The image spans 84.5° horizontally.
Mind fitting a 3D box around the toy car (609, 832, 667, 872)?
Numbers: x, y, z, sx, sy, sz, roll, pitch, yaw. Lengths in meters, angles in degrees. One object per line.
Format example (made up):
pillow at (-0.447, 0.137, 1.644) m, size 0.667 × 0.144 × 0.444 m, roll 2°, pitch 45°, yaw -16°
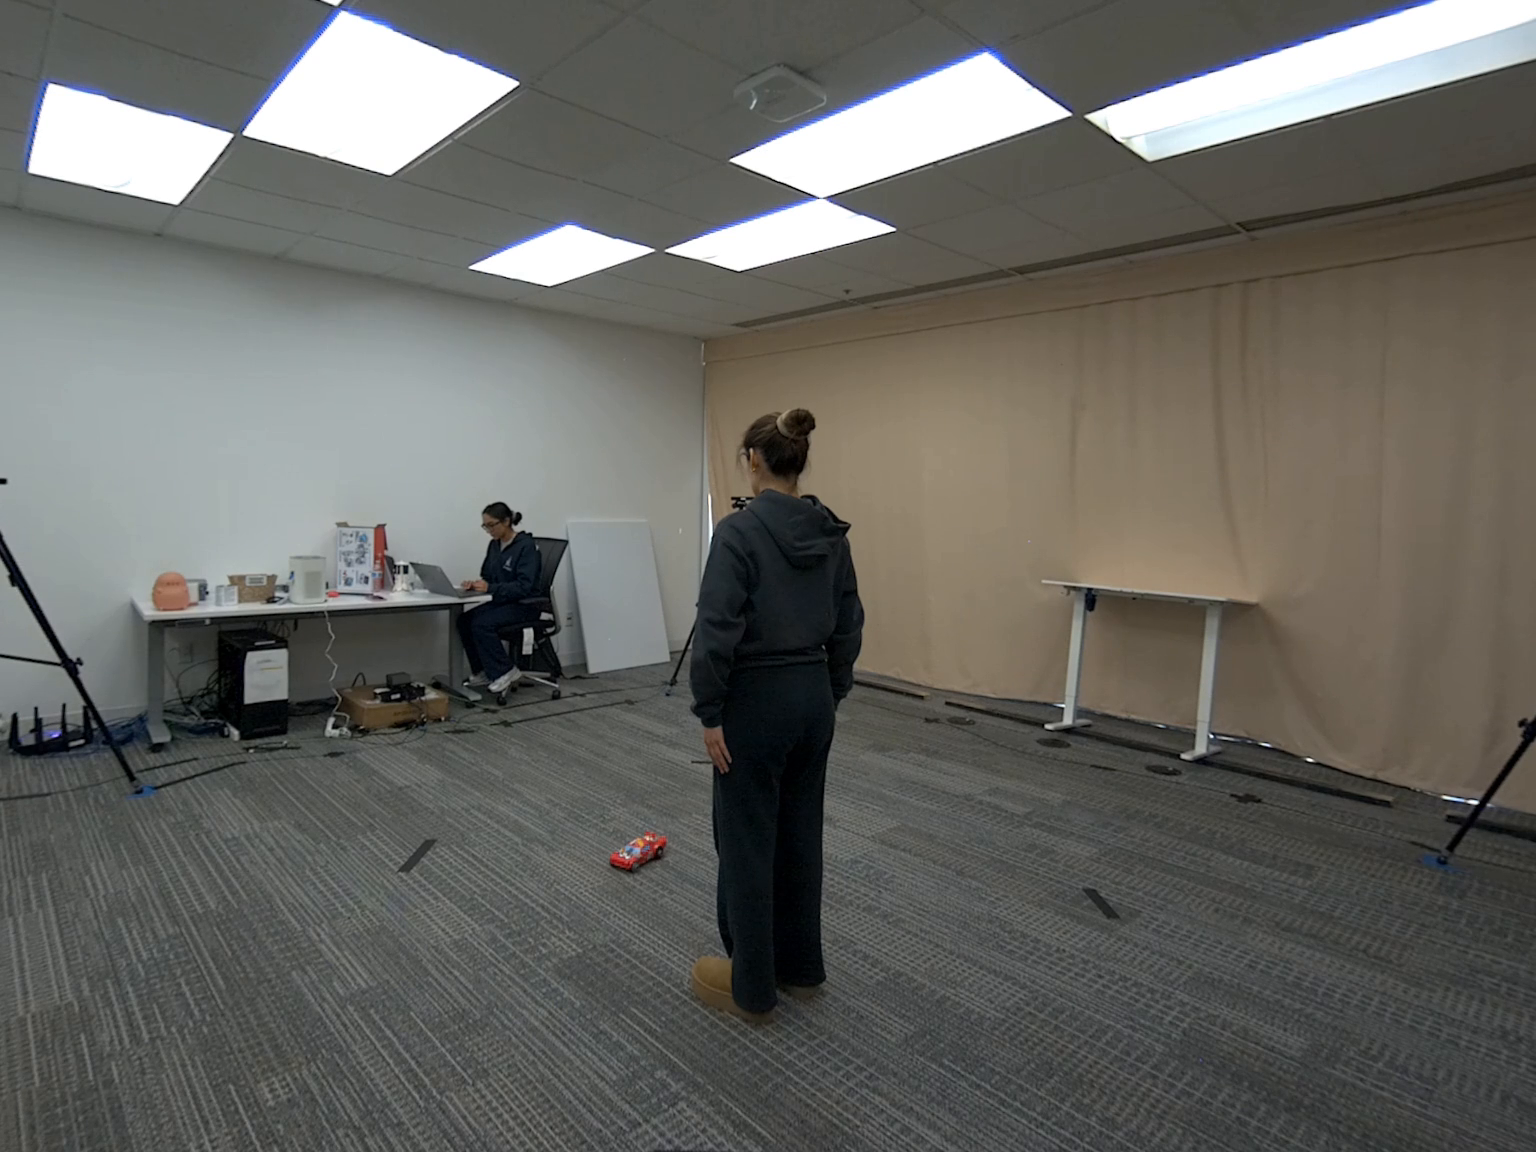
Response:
toy car at (-0.499, 1.058, 3.225) m, size 0.133 × 0.082 × 0.251 m, roll 3°, pitch 16°, yaw 31°
